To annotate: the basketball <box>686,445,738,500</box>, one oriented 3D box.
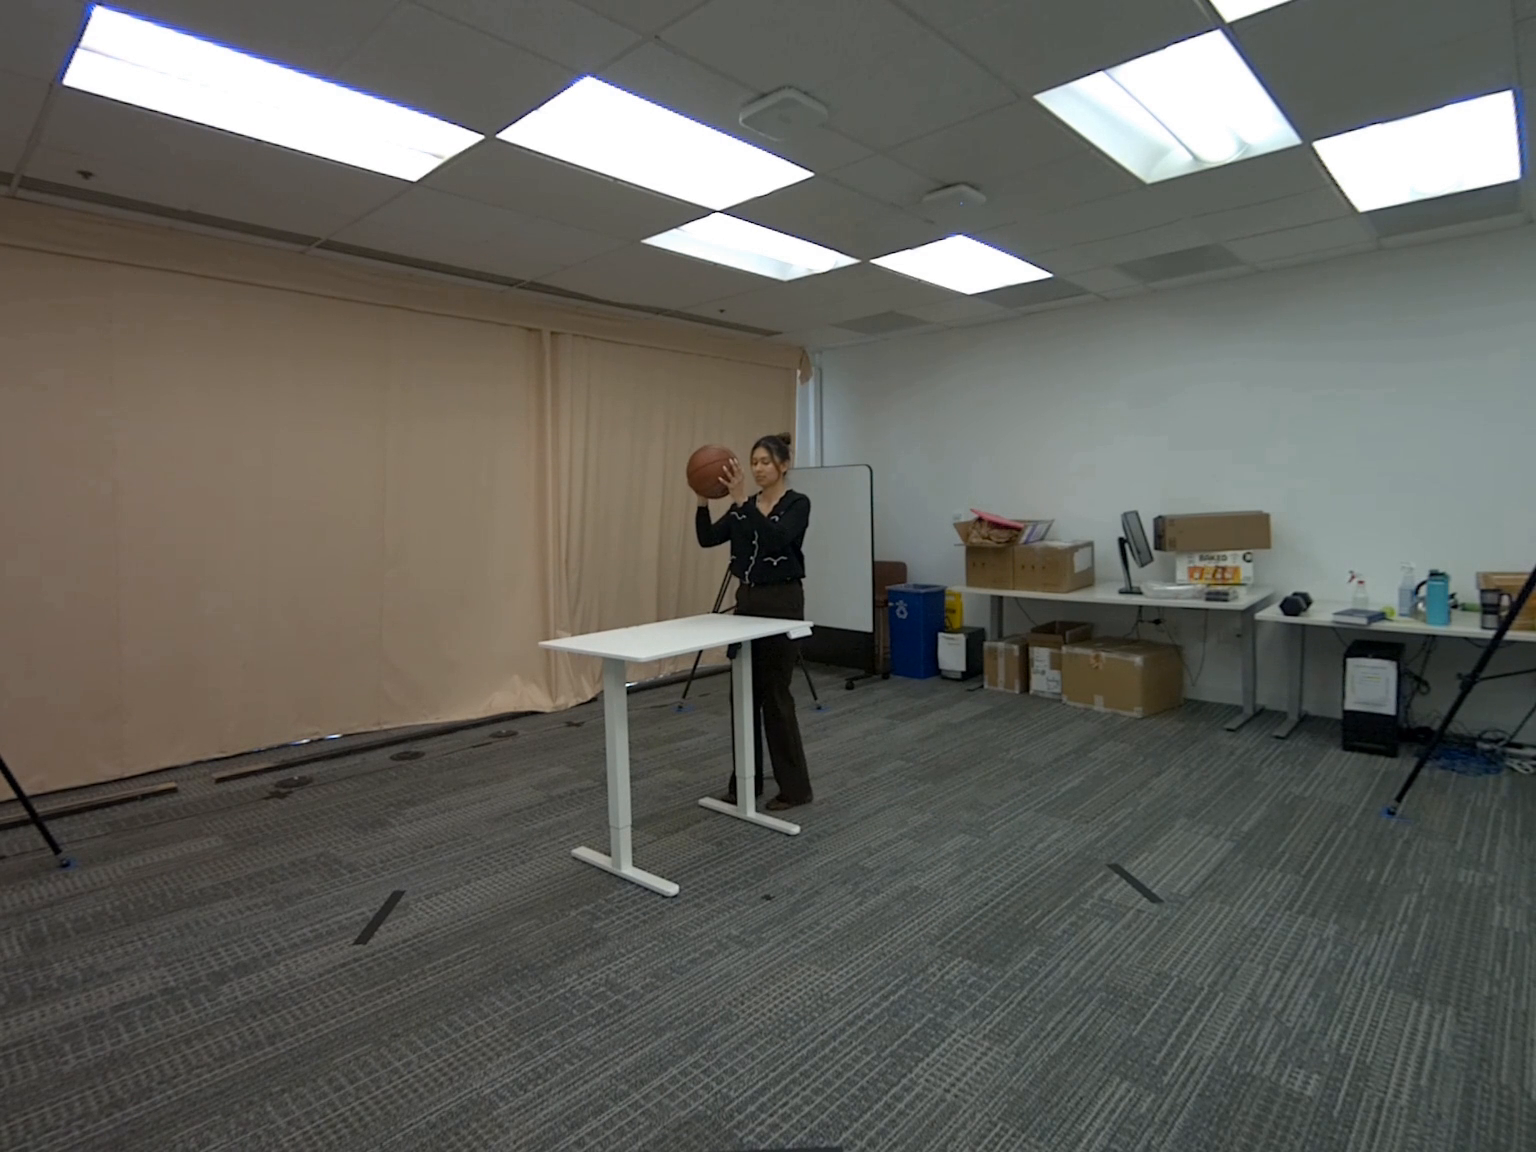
[{"bbox_3d":[-0.242,-0.454,3.654,0.236,0.235,0.237,-1,4,-2],"label":"basketball"}]
